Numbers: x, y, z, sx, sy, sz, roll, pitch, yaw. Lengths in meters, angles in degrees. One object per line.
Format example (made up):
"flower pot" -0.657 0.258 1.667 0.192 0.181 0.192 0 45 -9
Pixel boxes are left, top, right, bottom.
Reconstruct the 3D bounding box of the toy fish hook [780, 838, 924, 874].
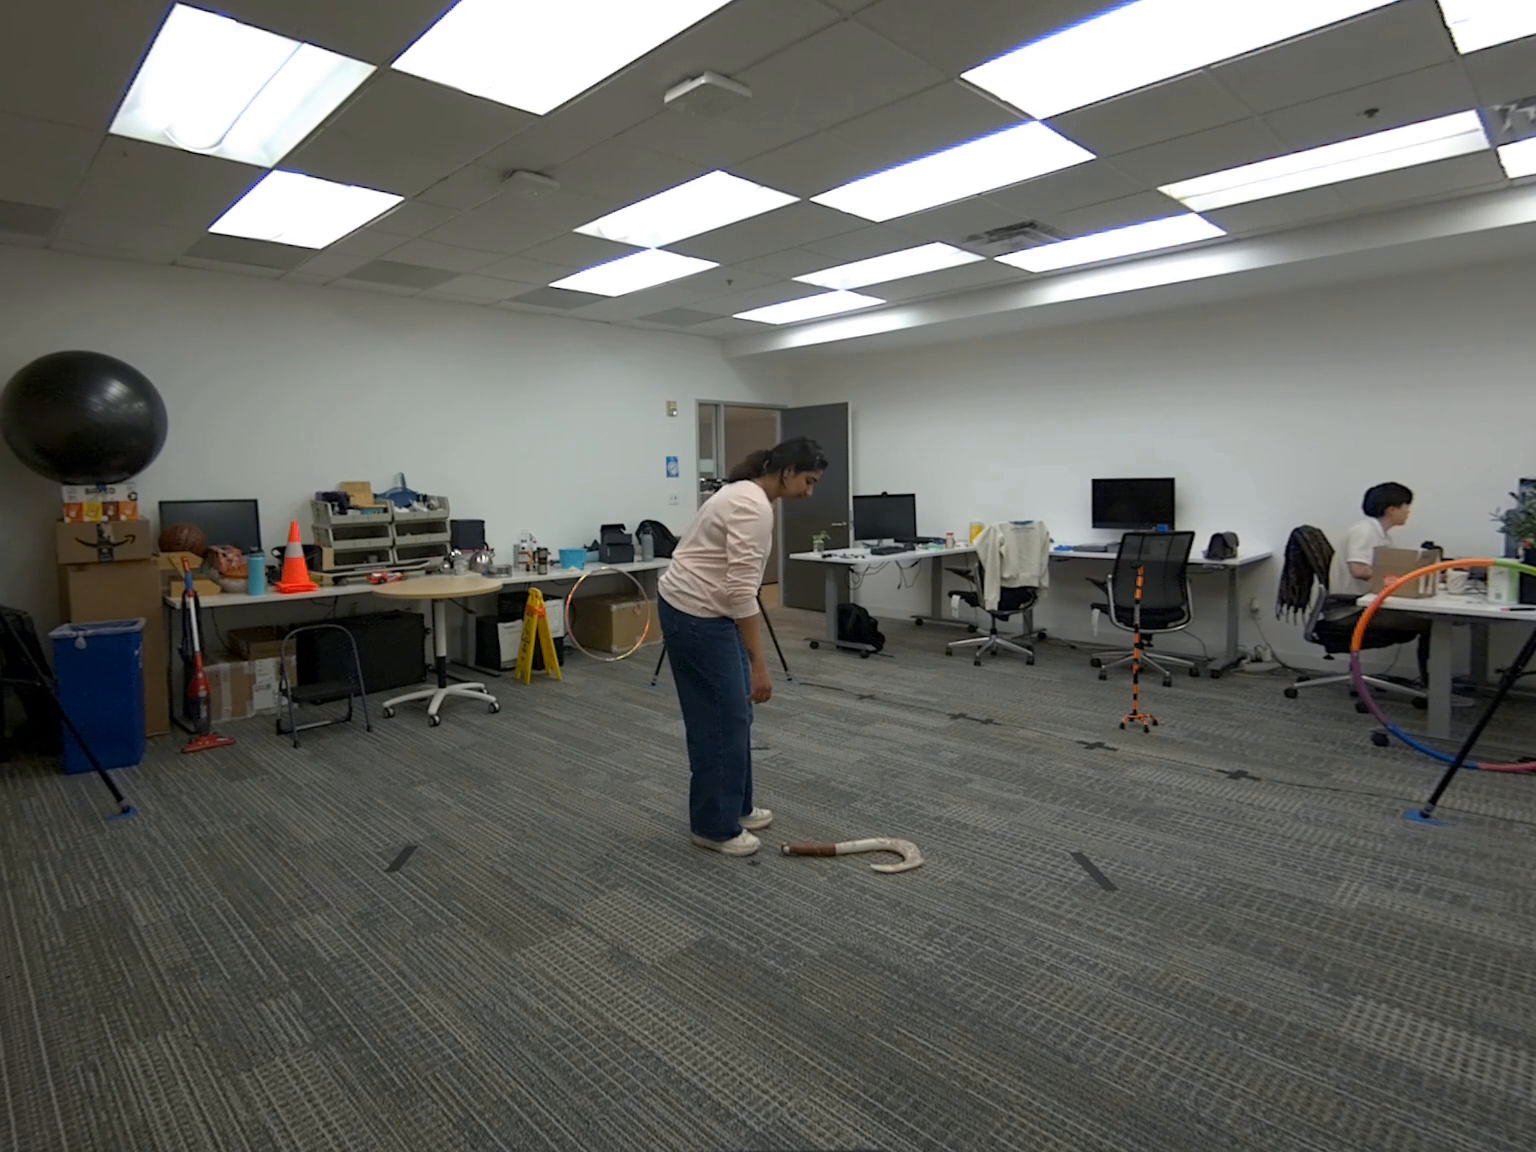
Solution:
"toy fish hook" 0.304 1.007 3.107 0.507 0.048 0.225 -1 5 0
